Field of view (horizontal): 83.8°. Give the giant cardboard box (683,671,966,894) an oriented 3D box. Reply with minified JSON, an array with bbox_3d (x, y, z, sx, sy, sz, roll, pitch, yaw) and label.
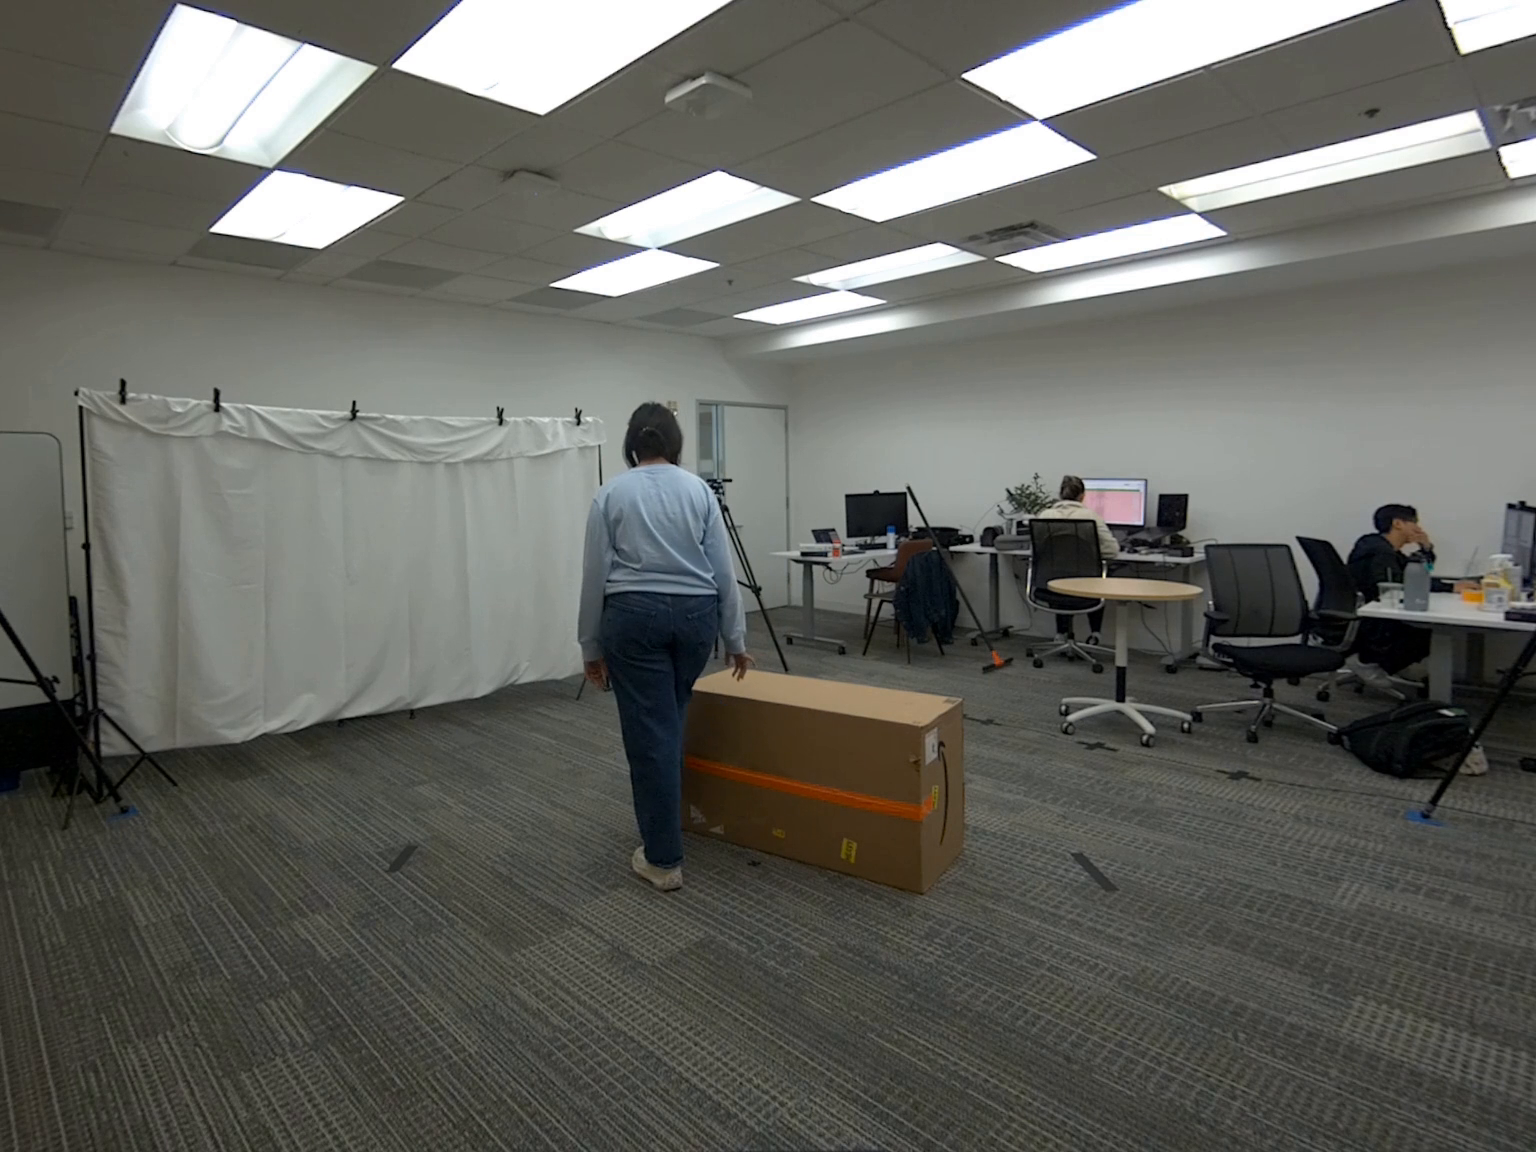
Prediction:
[{"bbox_3d":[0.190,0.733,3.292,1.056,0.582,0.436,3,5,33],"label":"giant cardboard box"}]
